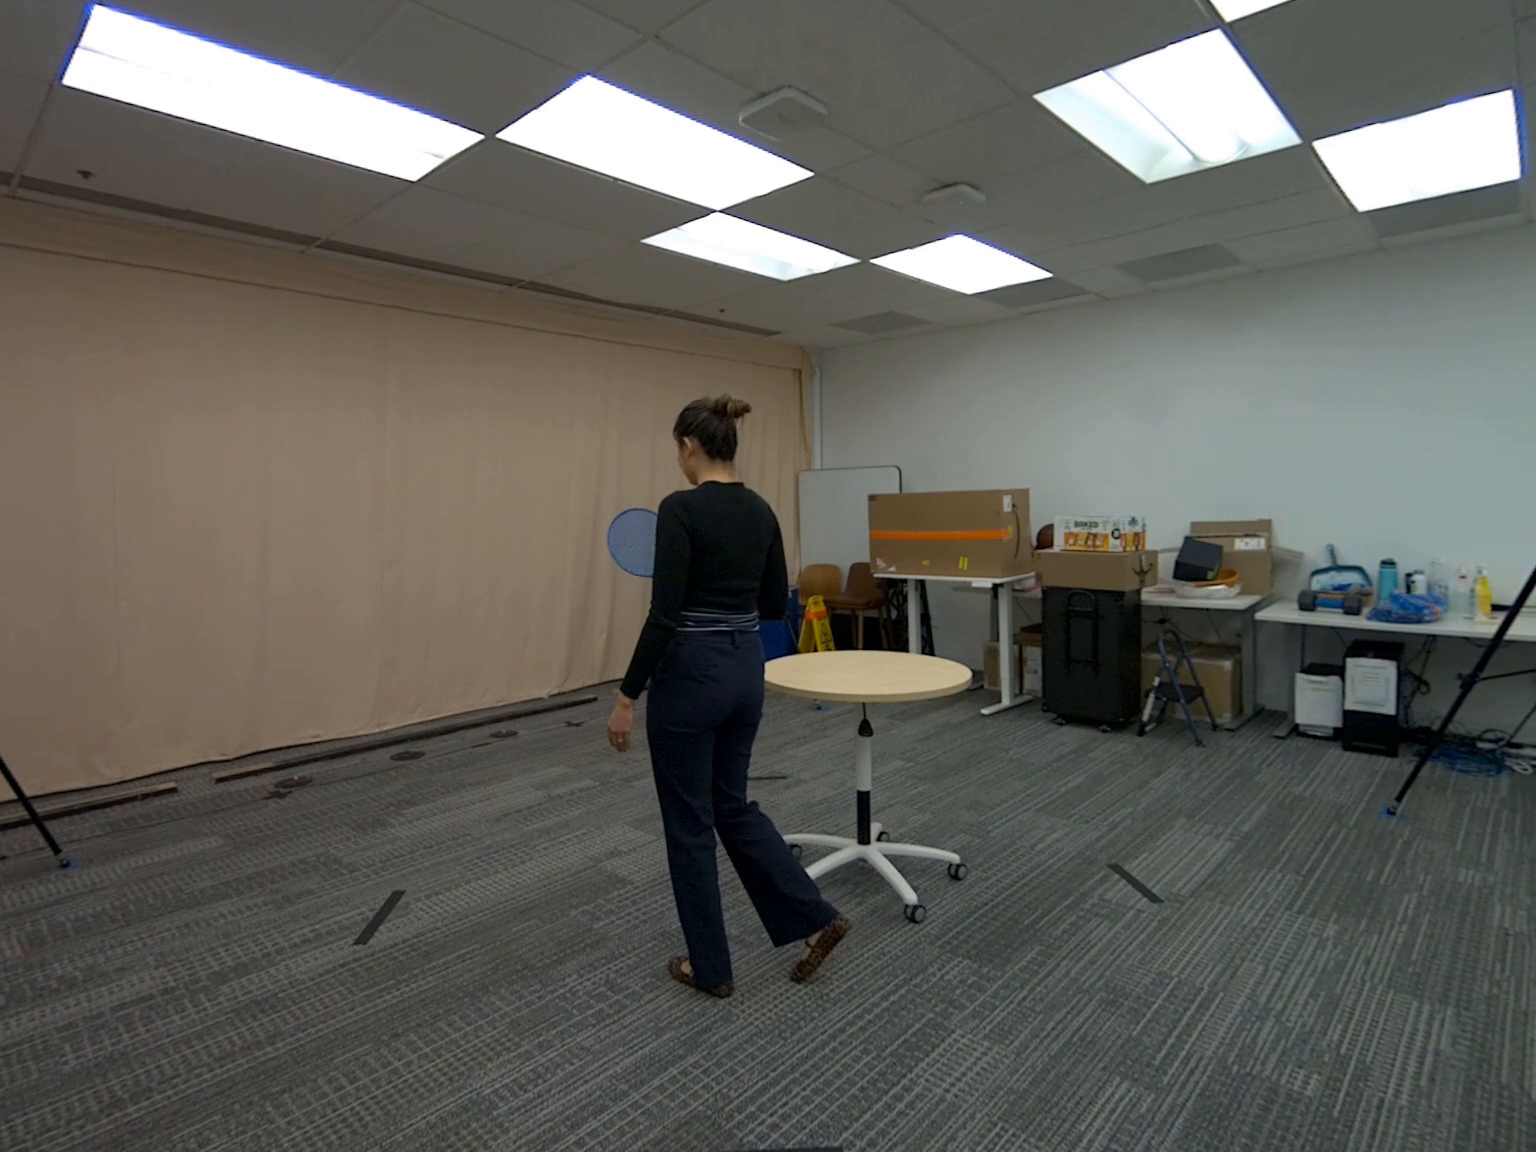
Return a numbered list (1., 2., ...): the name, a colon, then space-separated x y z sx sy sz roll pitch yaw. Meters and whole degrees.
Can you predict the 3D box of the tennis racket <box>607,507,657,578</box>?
1. tennis racket: -0.362 -0.050 2.720 0.213 0.444 0.031 -38 -23 -7
